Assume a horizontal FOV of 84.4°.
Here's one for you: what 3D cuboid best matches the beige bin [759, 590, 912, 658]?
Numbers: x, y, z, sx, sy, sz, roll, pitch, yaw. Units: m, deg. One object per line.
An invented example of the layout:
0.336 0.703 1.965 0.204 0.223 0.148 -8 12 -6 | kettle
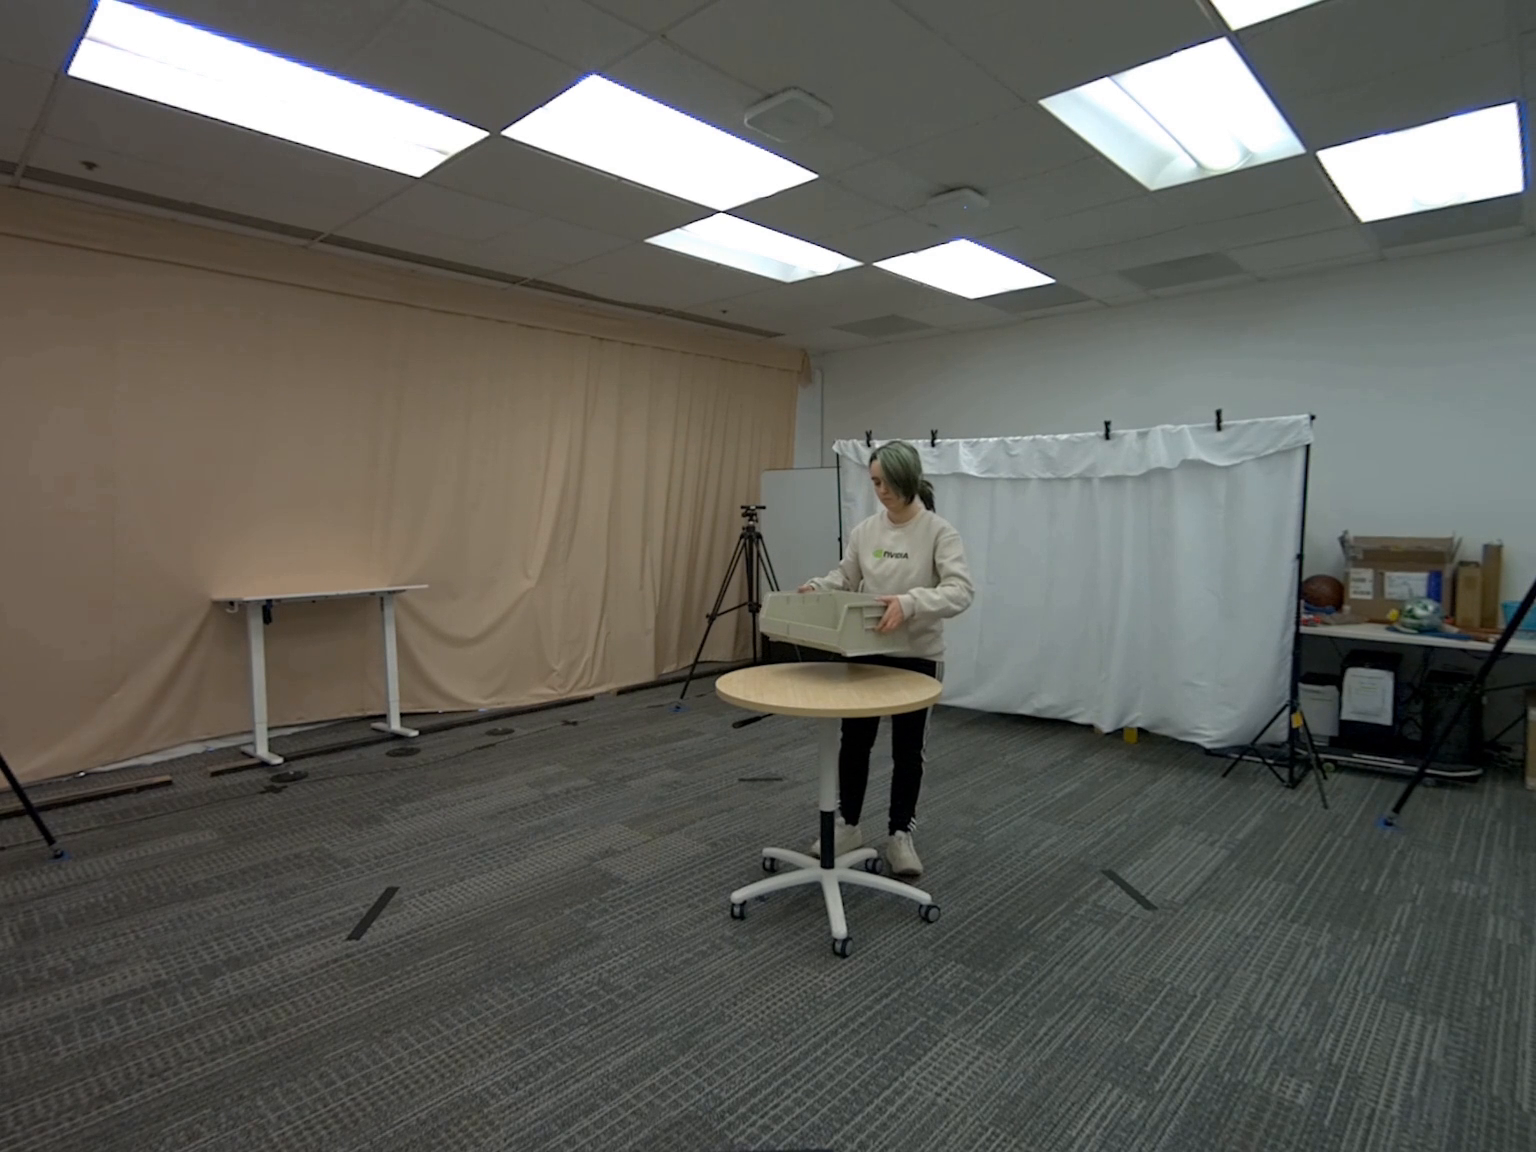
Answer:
0.241 0.164 3.041 0.366 0.189 0.436 0 3 -38 | beige bin
